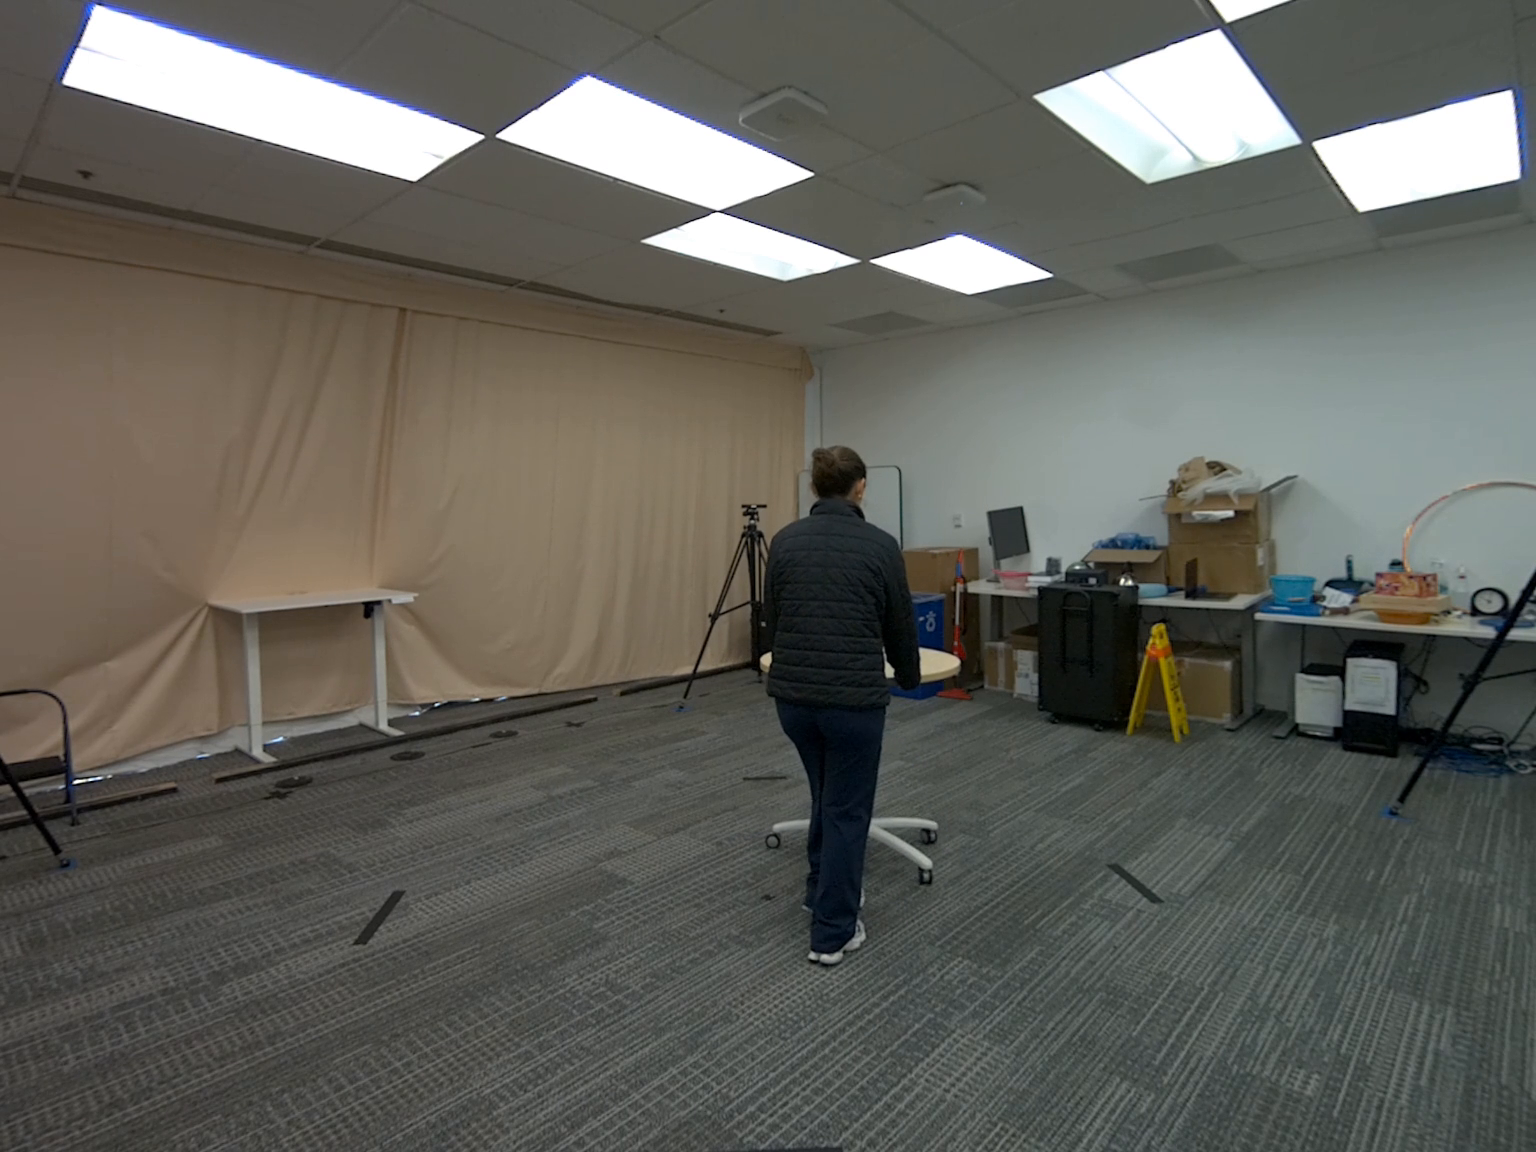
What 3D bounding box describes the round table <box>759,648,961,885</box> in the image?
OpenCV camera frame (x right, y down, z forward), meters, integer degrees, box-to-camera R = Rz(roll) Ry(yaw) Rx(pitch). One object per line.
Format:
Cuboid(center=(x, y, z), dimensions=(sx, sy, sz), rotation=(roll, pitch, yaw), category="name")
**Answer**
Cuboid(center=(0.361, 0.711, 3.299), dimensions=(0.784, 0.785, 0.788), rotation=(-1, 3, -2), category="round table")
